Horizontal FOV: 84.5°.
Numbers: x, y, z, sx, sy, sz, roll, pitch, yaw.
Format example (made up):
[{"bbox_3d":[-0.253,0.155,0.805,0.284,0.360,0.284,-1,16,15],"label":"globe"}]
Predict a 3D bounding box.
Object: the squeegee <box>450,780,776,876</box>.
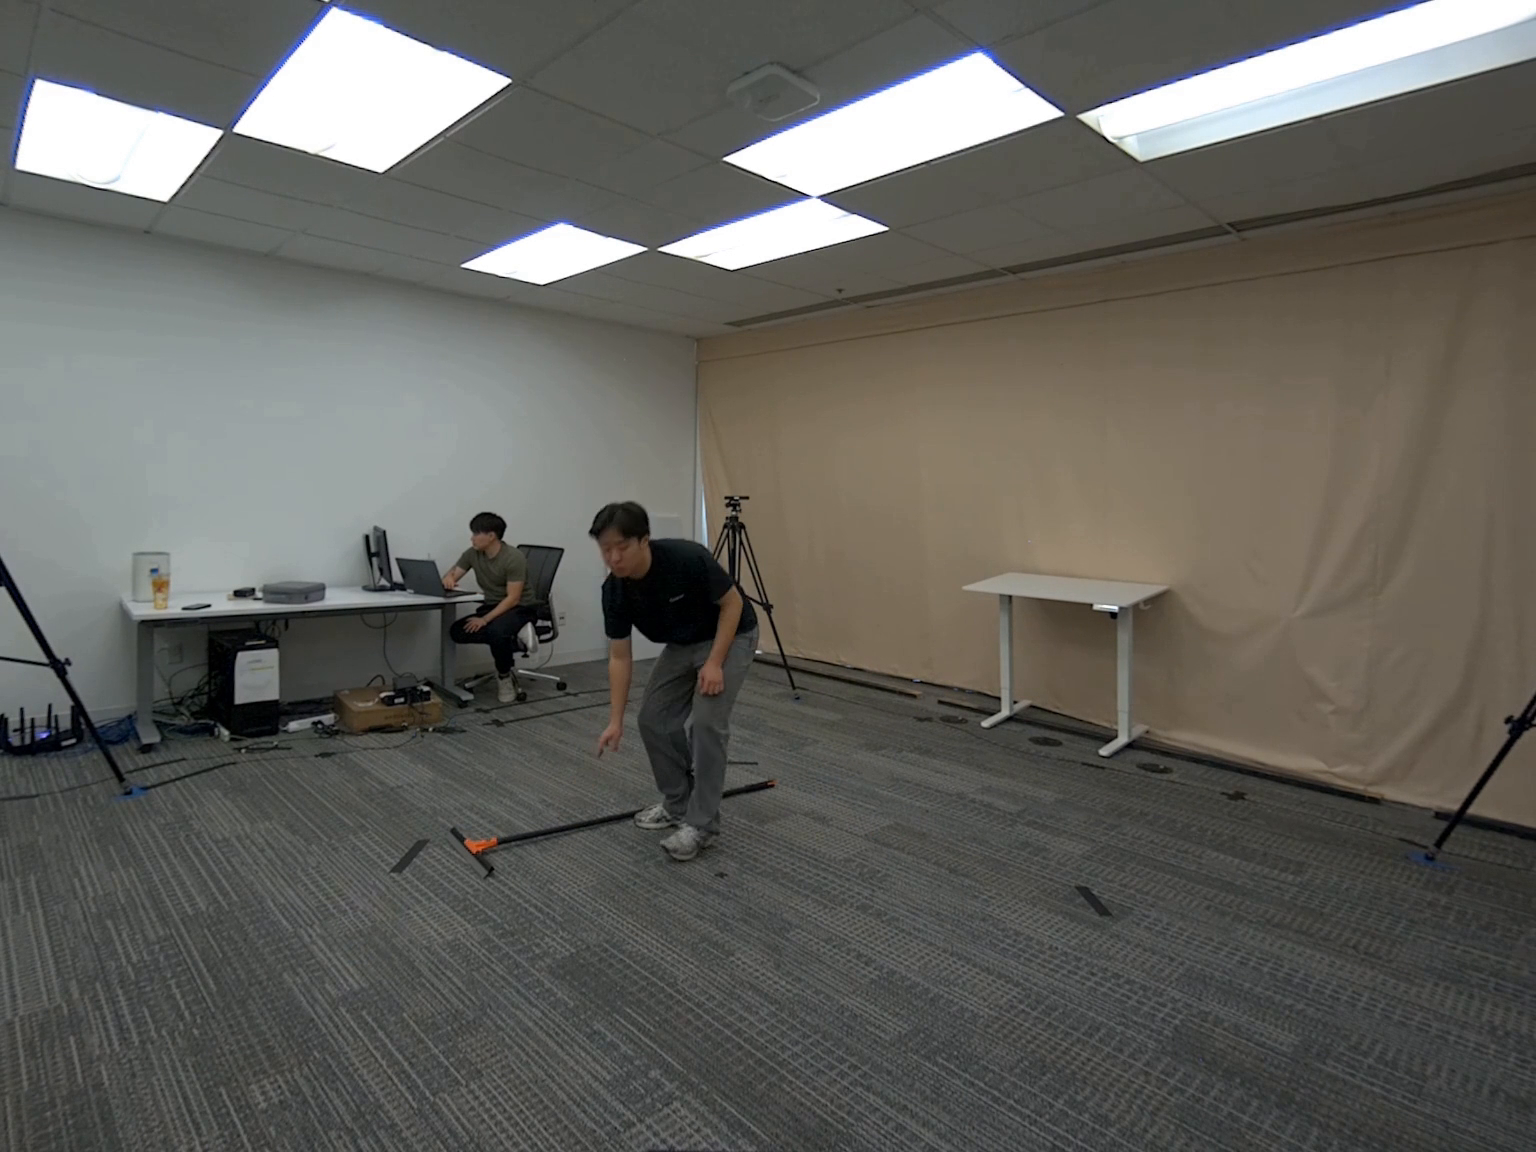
[{"bbox_3d":[-0.569,1.007,3.654,1.503,0.053,0.449,-2,7,-38],"label":"squeegee"}]
